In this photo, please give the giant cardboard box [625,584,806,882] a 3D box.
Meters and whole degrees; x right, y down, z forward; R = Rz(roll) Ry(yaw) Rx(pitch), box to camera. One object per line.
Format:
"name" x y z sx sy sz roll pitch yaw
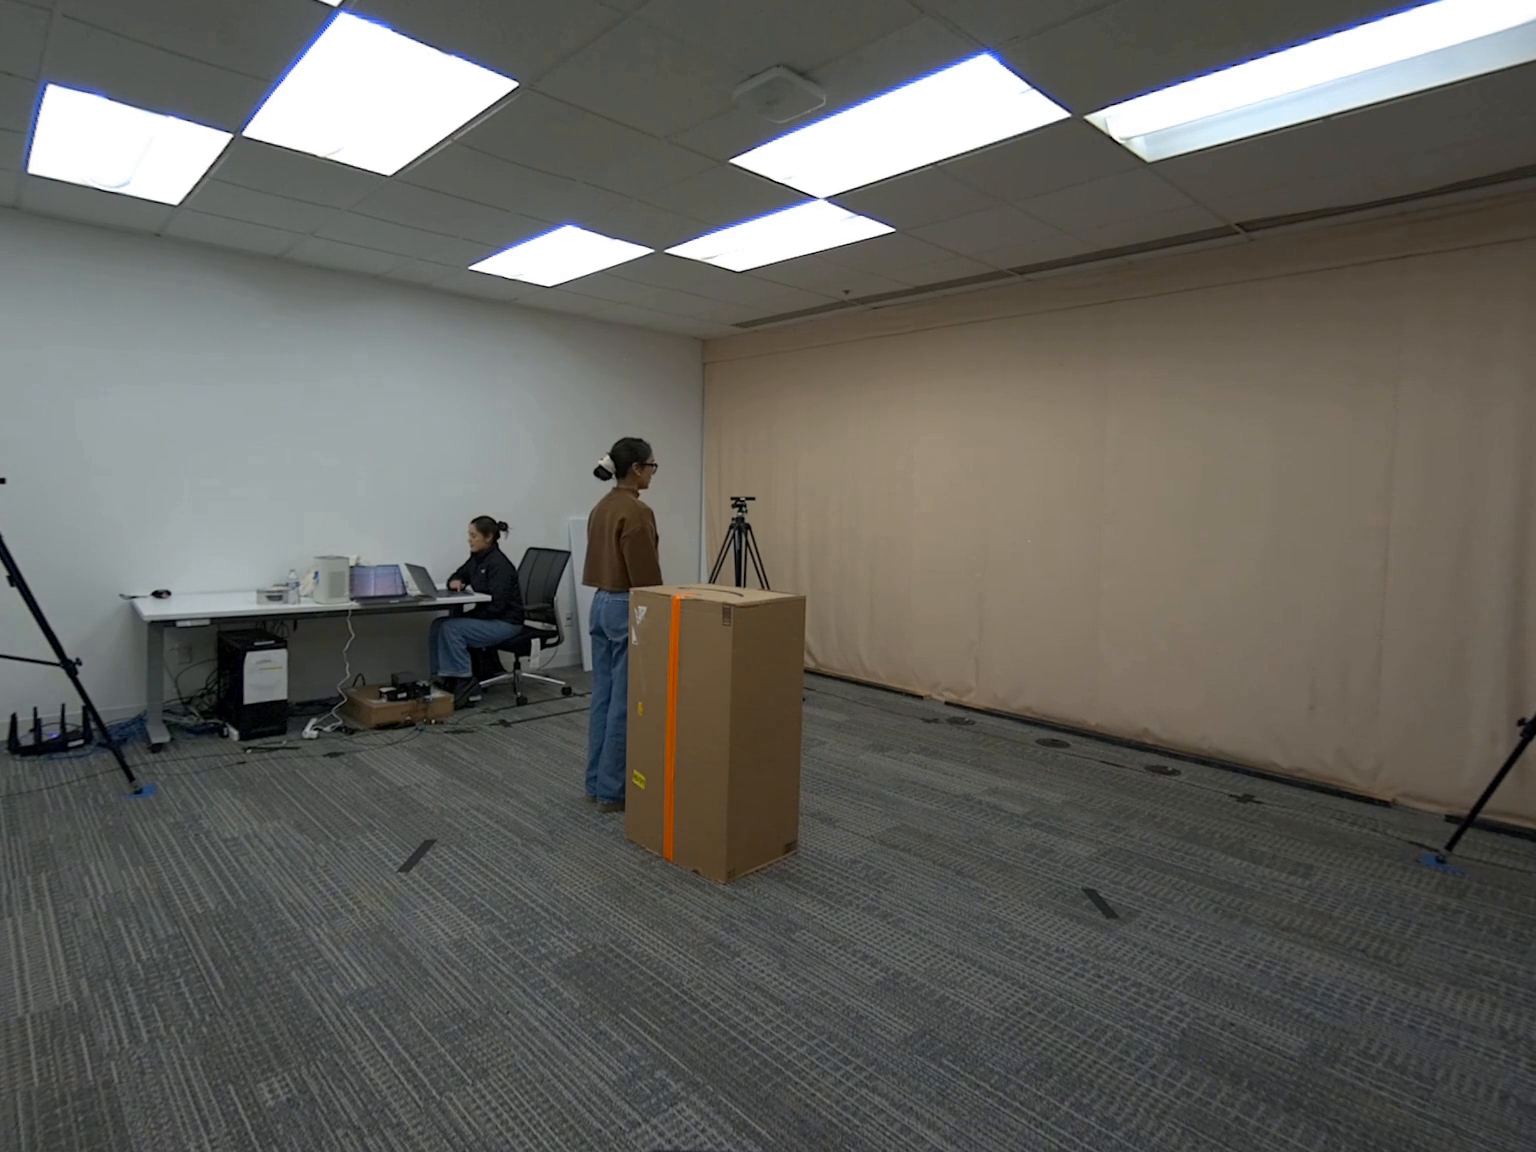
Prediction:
"giant cardboard box" -0.221 0.575 3.340 0.592 1.023 0.416 4 4 43
